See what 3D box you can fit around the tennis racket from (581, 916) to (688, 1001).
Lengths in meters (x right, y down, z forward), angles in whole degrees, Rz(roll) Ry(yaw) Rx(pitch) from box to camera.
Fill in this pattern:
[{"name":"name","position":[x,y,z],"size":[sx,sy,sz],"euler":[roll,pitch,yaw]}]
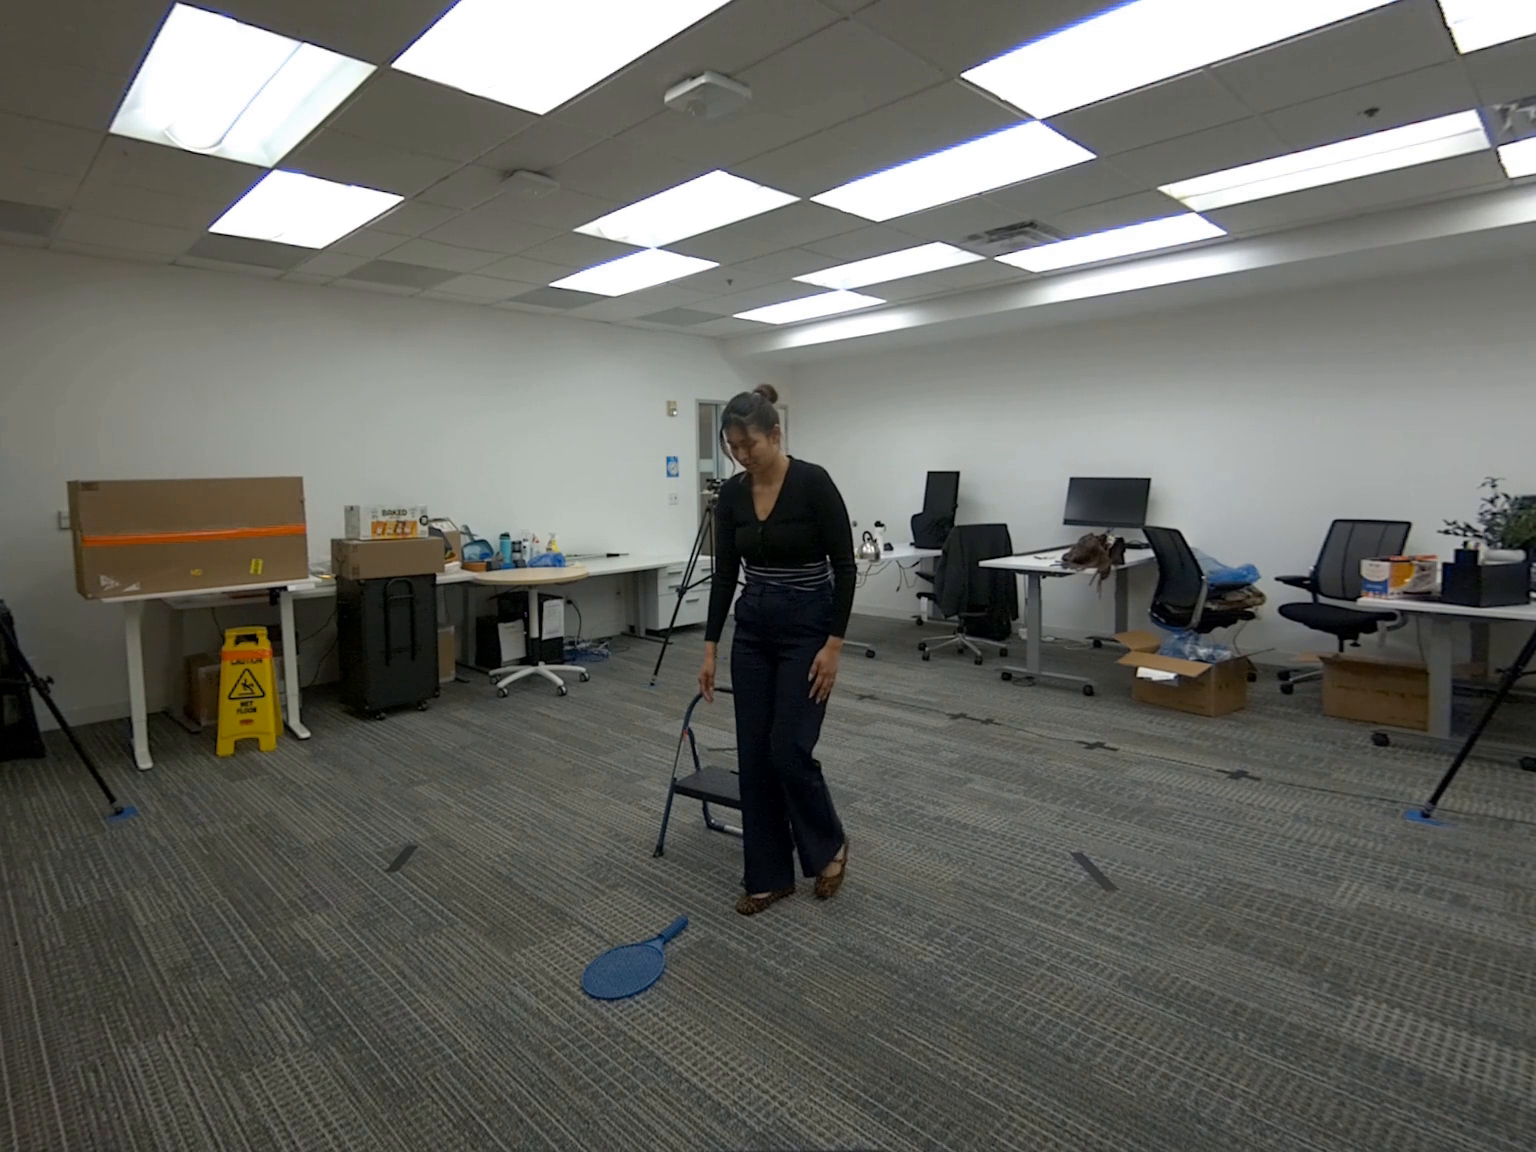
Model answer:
[{"name":"tennis racket","position":[-0.363,1.104,2.506],"size":[0.219,0.031,0.424],"euler":[2,8,28]}]
